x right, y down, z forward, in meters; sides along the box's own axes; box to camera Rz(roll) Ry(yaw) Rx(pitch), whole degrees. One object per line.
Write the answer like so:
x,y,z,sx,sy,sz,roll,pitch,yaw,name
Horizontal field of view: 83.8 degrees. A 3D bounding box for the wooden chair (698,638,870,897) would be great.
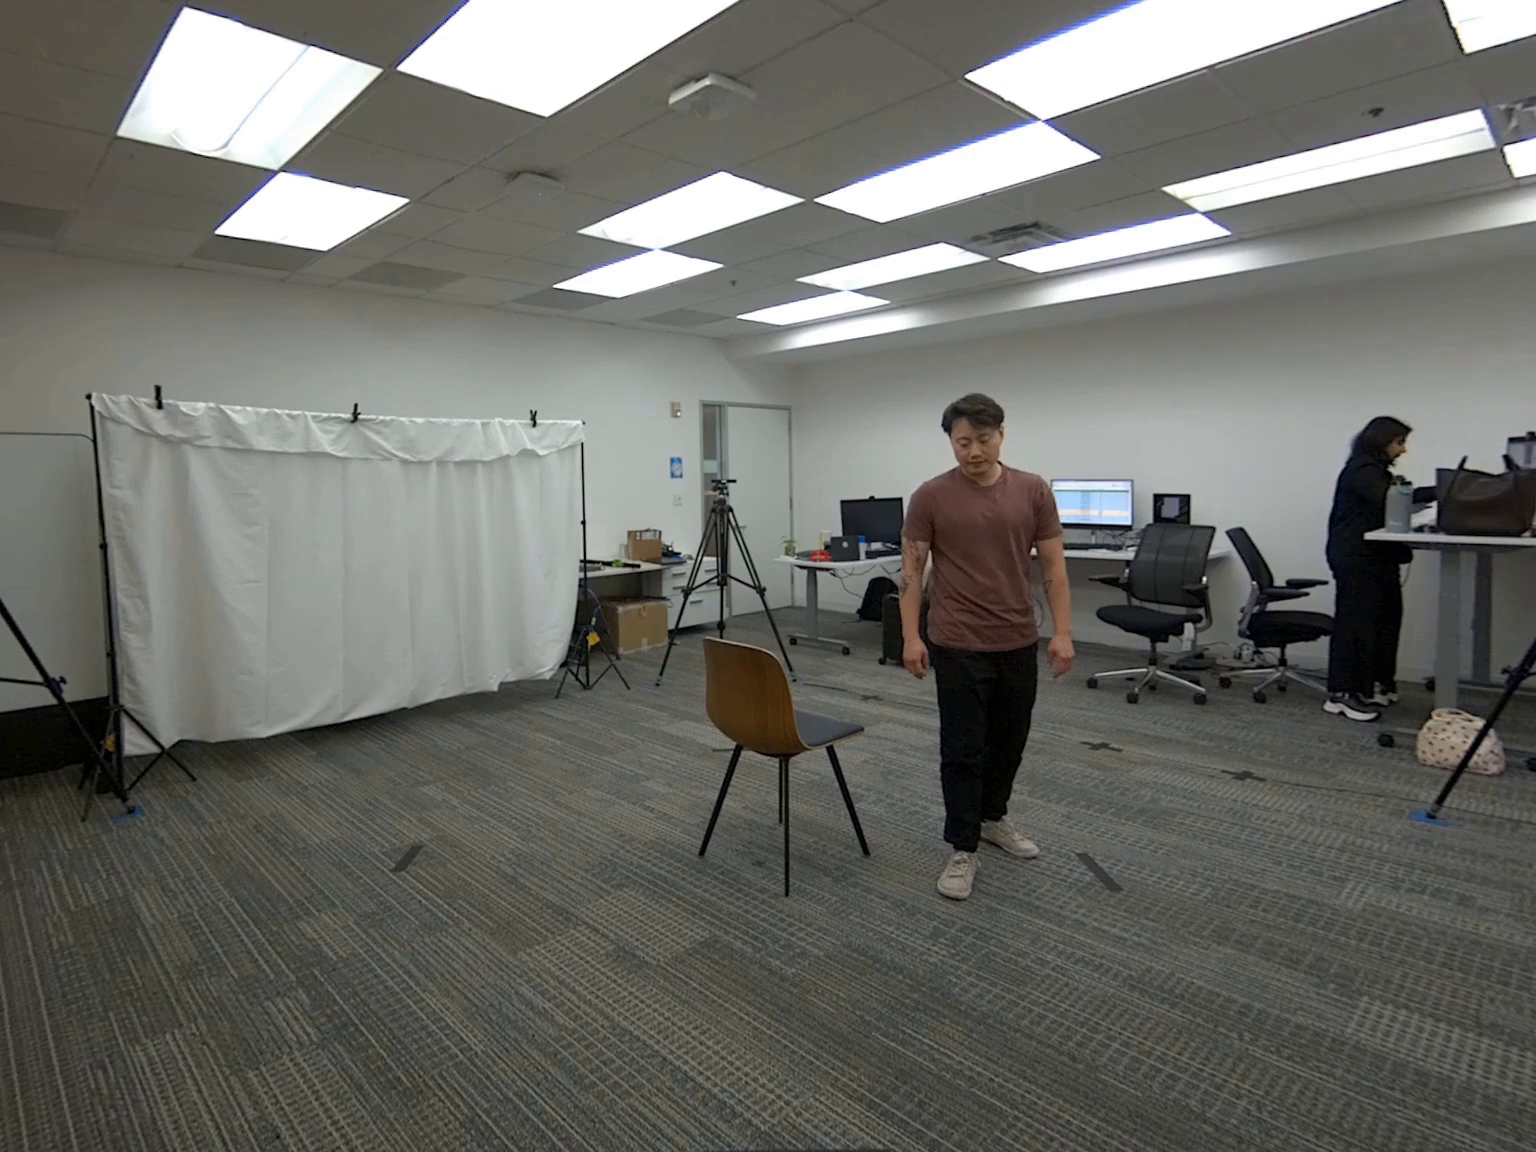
0.062,0.614,3.147,0.511,0.872,0.493,-10,9,-44,wooden chair
